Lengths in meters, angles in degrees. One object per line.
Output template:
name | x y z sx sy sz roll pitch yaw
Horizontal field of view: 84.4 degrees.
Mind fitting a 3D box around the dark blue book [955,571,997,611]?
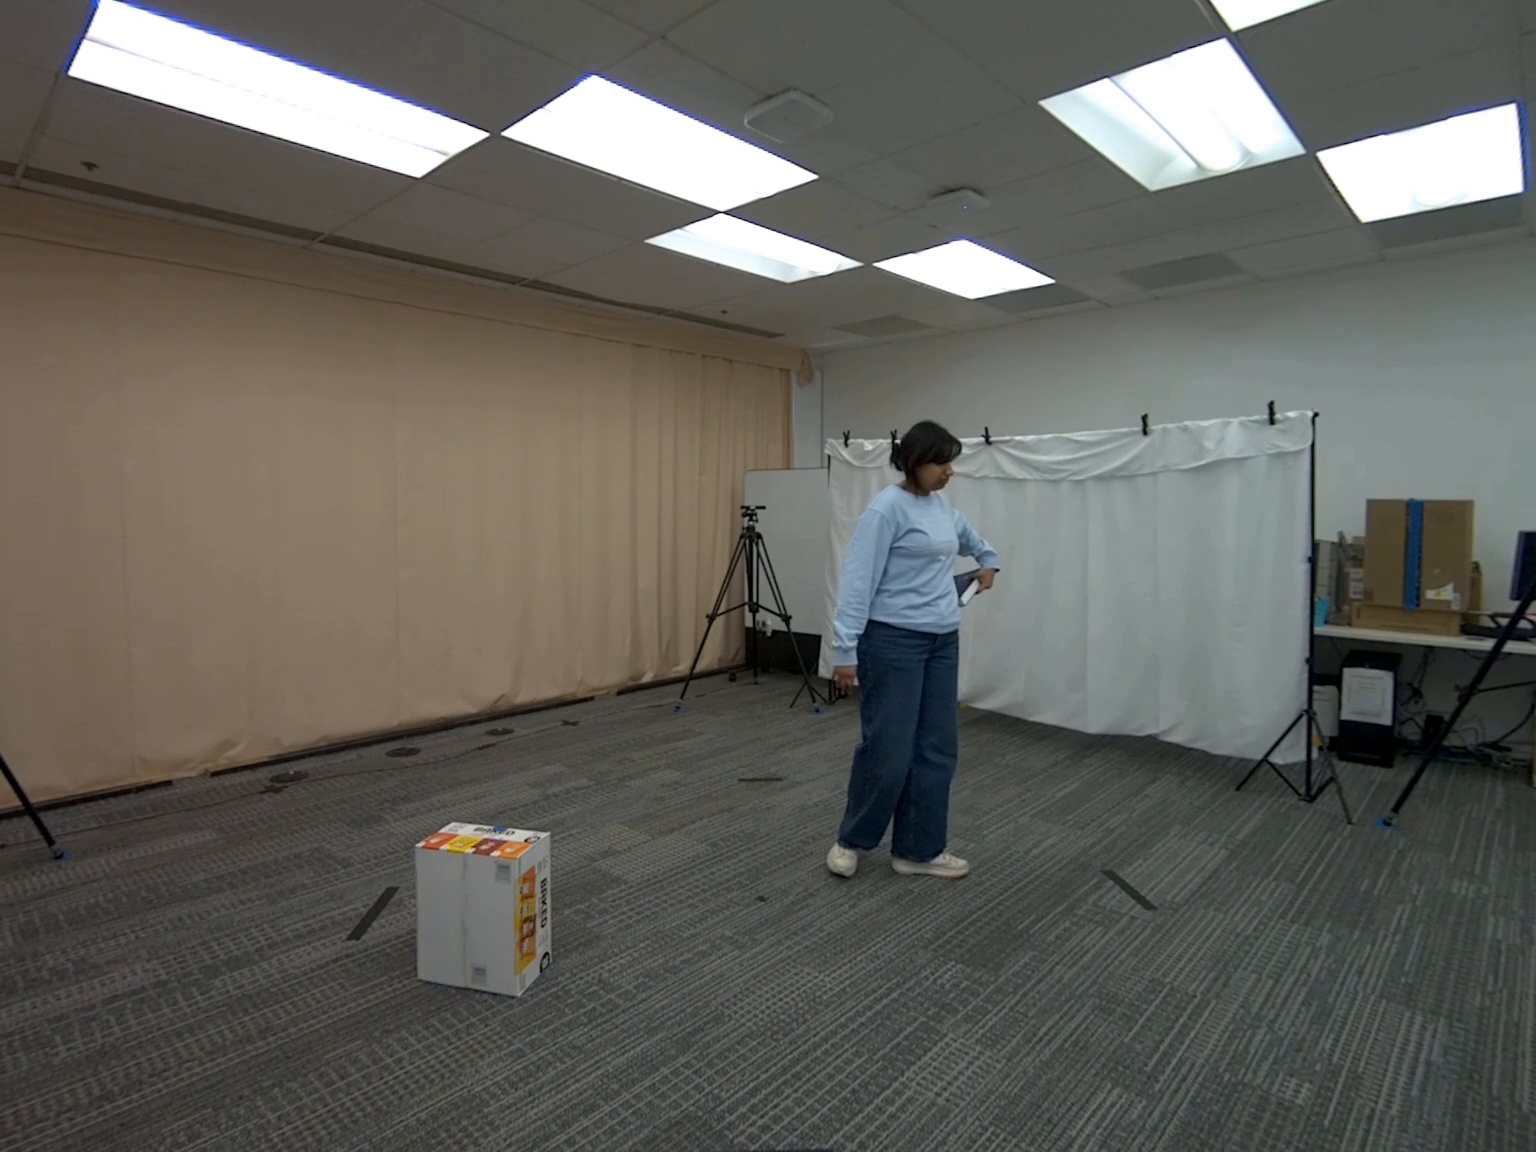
dark blue book | 0.797 0.059 3.418 0.167 0.045 0.242 -22 15 45
